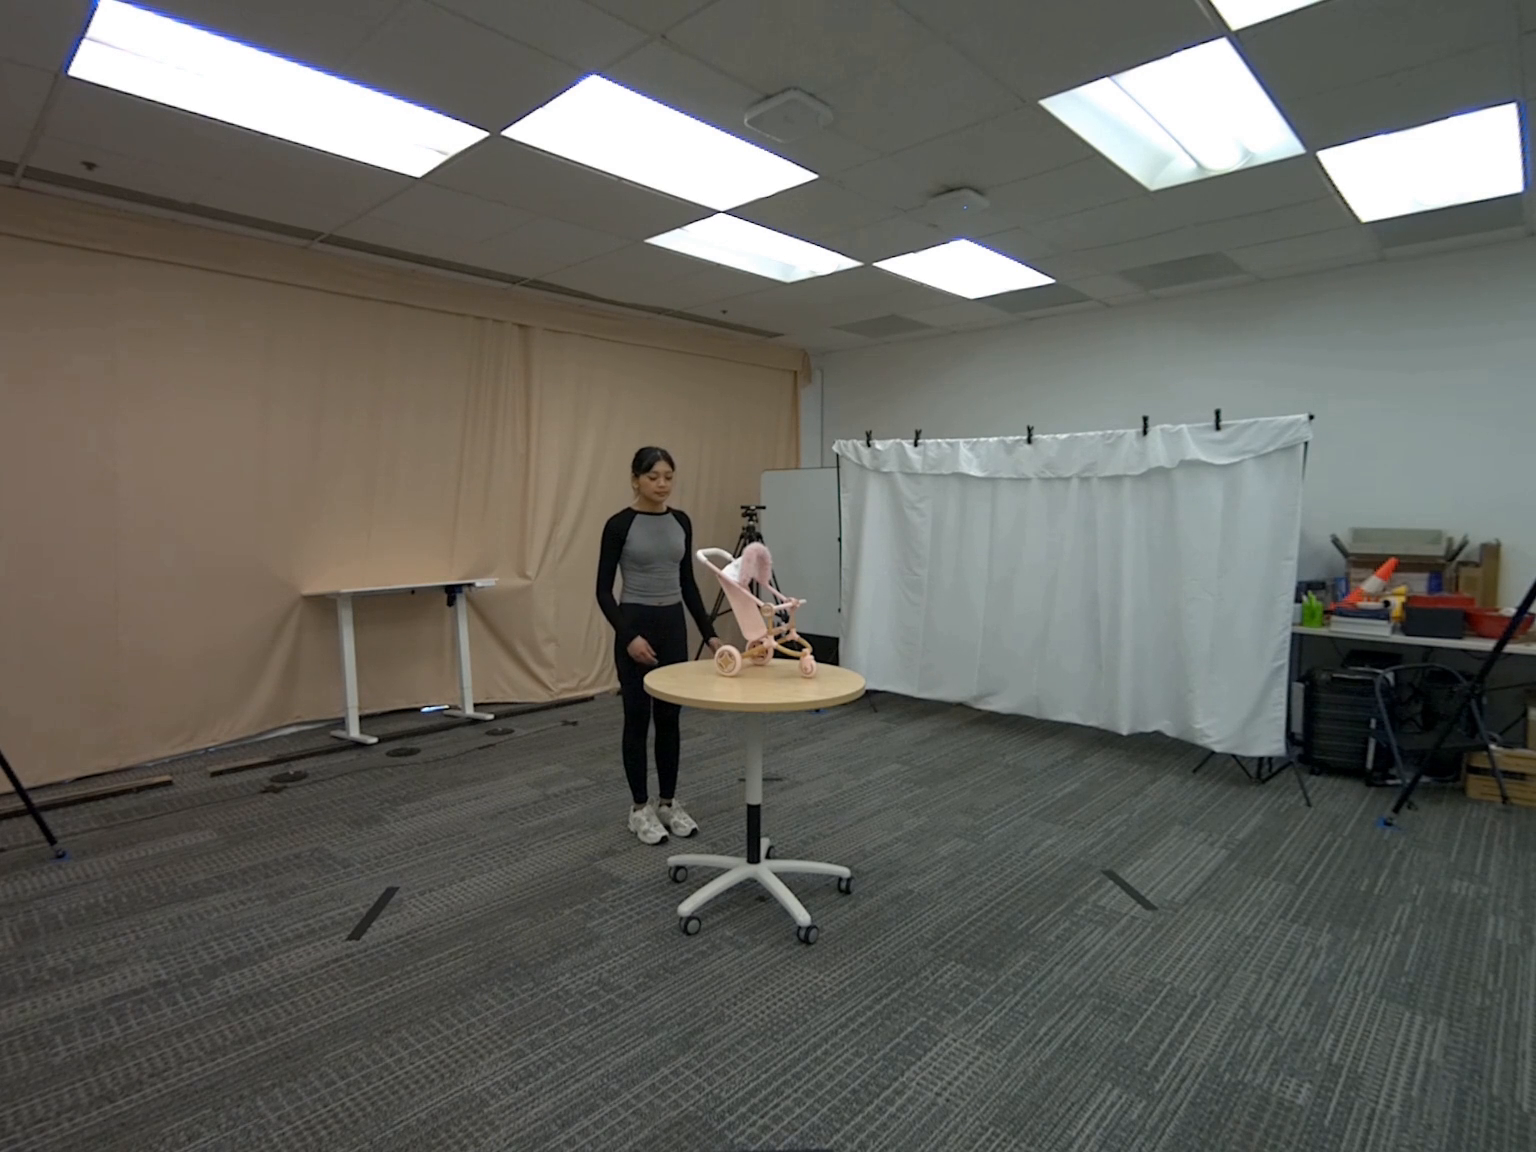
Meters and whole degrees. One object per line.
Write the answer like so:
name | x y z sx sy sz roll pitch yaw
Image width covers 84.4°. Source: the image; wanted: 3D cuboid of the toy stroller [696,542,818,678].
toy stroller | -0.024 0.123 3.012 0.349 0.537 0.274 -15 -6 32
